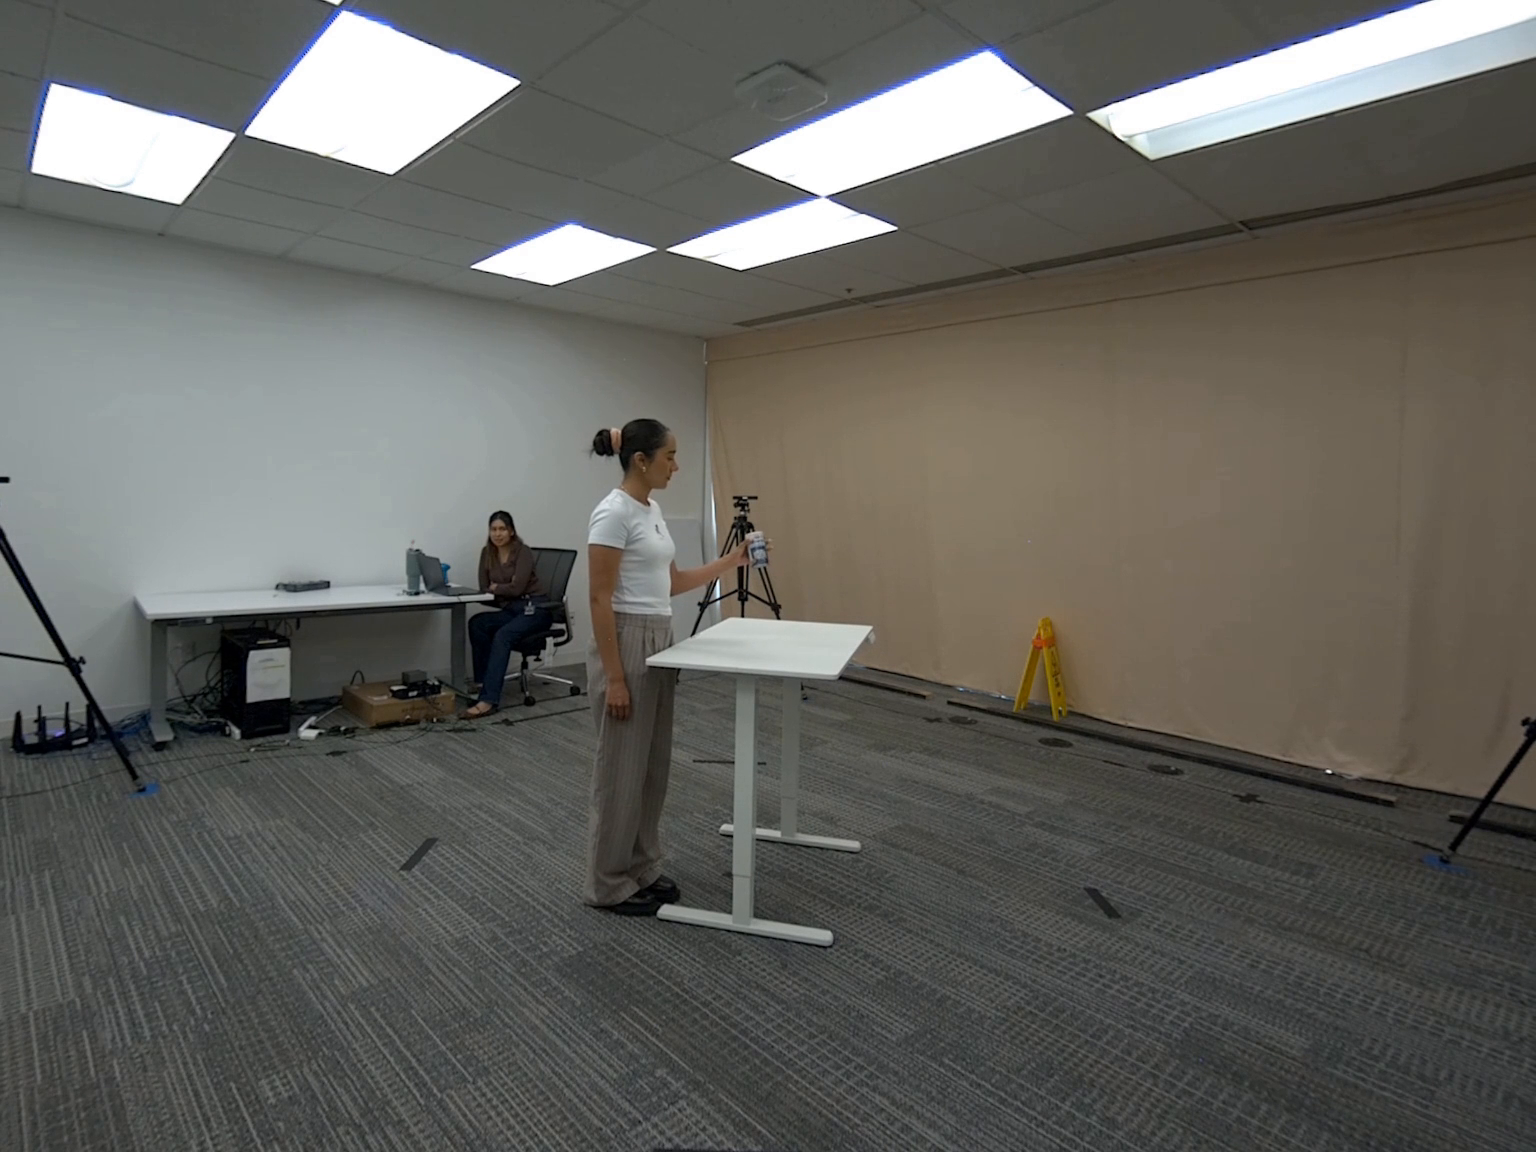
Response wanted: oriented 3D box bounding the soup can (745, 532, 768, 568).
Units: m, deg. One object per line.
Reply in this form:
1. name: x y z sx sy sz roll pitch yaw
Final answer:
1. soup can: -0.060 -0.095 2.967 0.067 0.121 0.067 -8 0 -1
